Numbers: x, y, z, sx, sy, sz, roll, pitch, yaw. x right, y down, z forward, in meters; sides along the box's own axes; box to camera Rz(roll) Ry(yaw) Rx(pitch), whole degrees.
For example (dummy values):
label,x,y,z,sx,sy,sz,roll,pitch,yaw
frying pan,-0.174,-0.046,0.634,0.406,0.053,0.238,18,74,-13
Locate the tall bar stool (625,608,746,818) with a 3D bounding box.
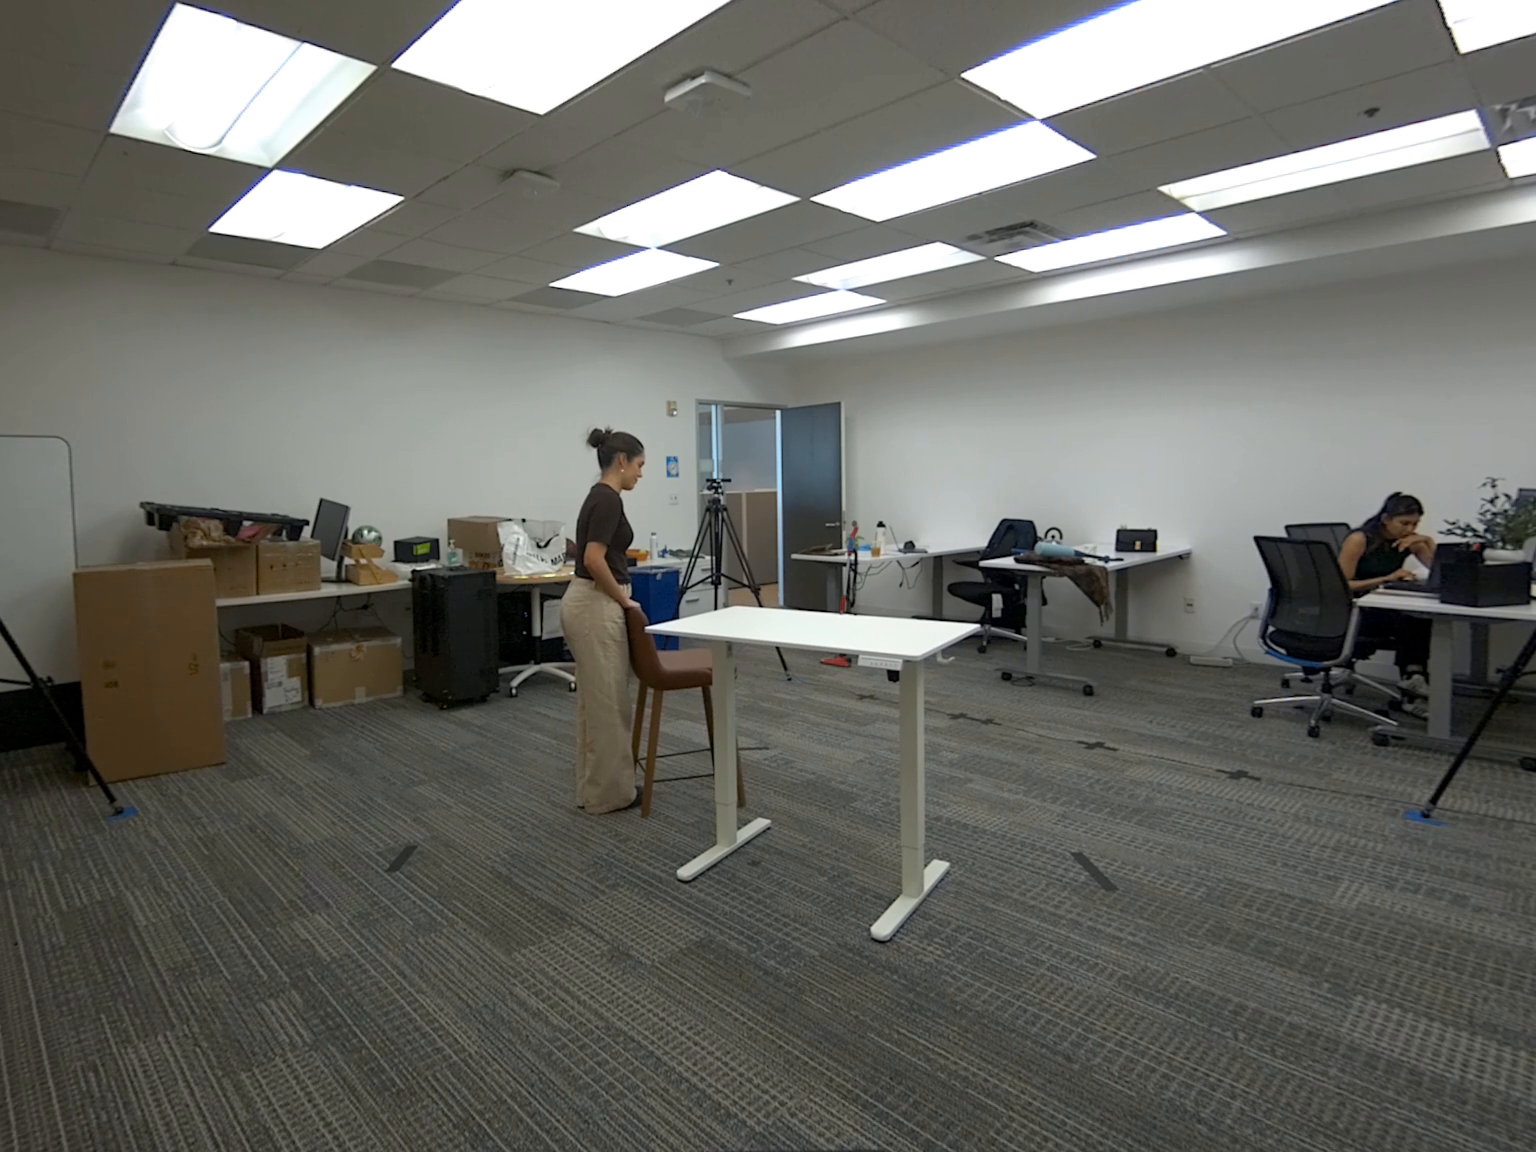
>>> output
label,x,y,z,sx,sy,sz,roll,pitch,yaw
tall bar stool,-0.386,0.538,3.755,0.461,0.886,0.465,-4,4,-17
